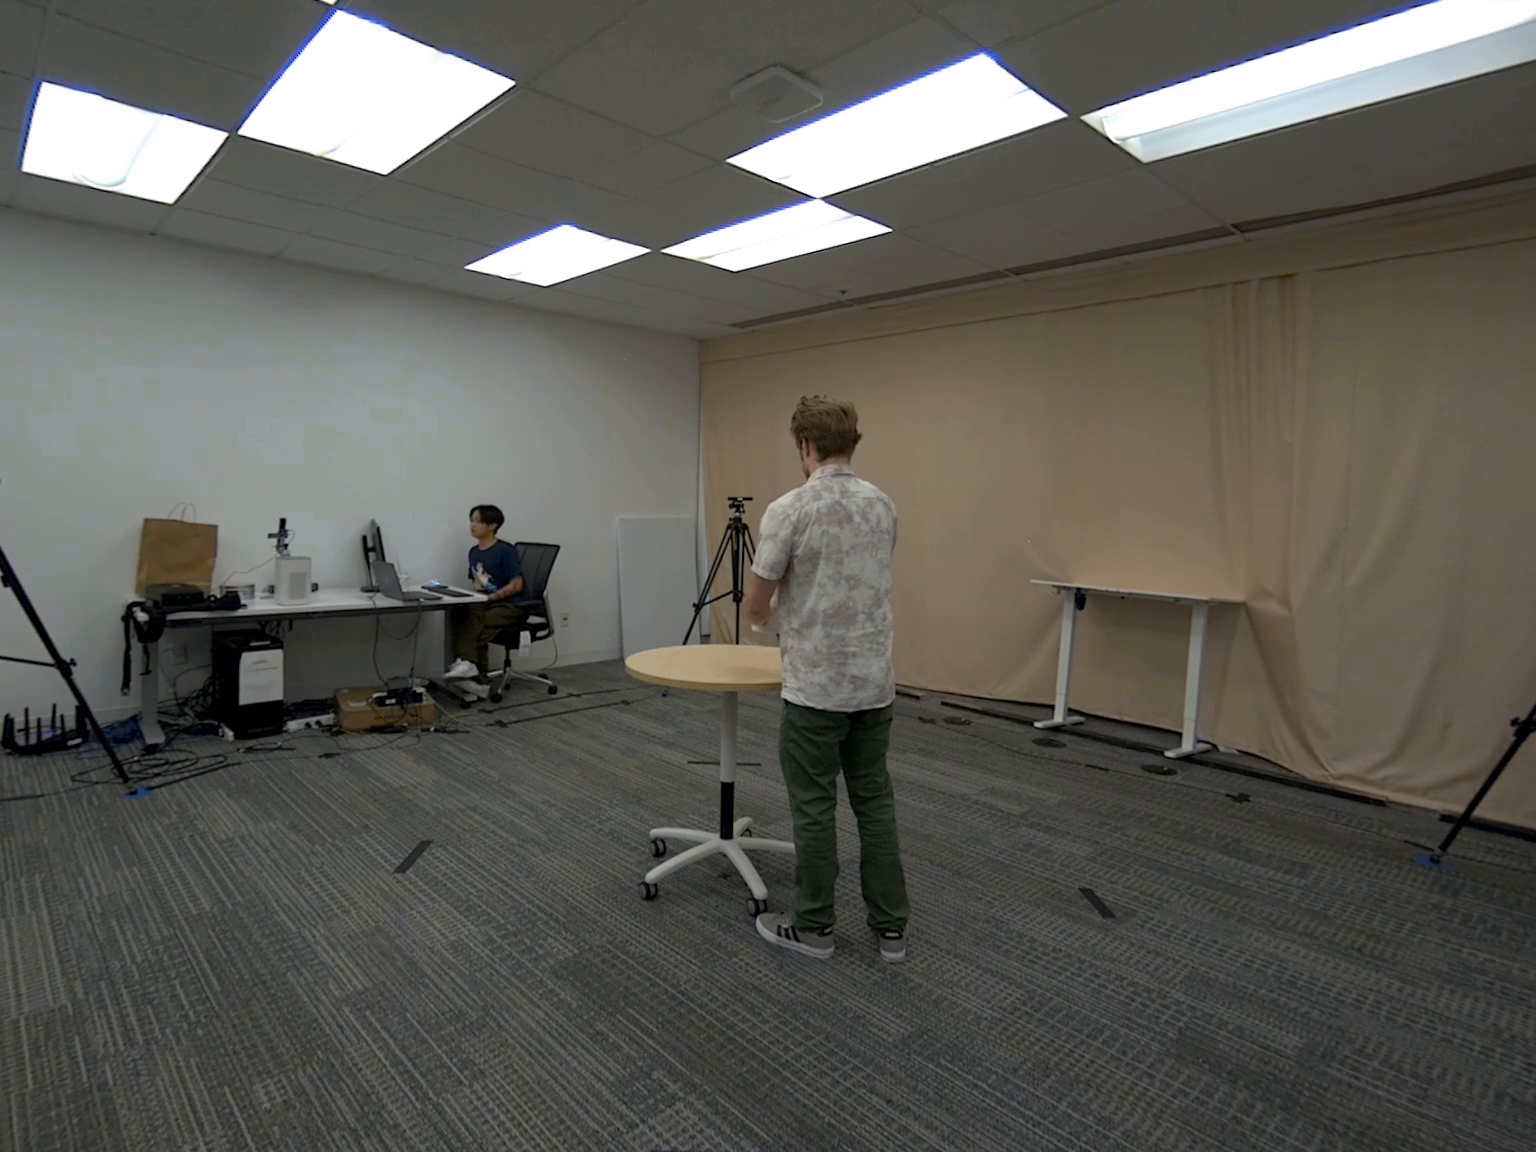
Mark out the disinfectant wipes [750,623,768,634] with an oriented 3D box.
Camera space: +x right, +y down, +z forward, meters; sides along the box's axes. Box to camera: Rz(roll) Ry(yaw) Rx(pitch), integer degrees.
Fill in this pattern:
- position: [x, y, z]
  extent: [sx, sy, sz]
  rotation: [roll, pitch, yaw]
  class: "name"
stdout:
- position: [0.009, 0.095, 2.942]
  extent: [0.118, 0.217, 0.118]
  rotation: [3, -1, -1]
  class: "disinfectant wipes"
